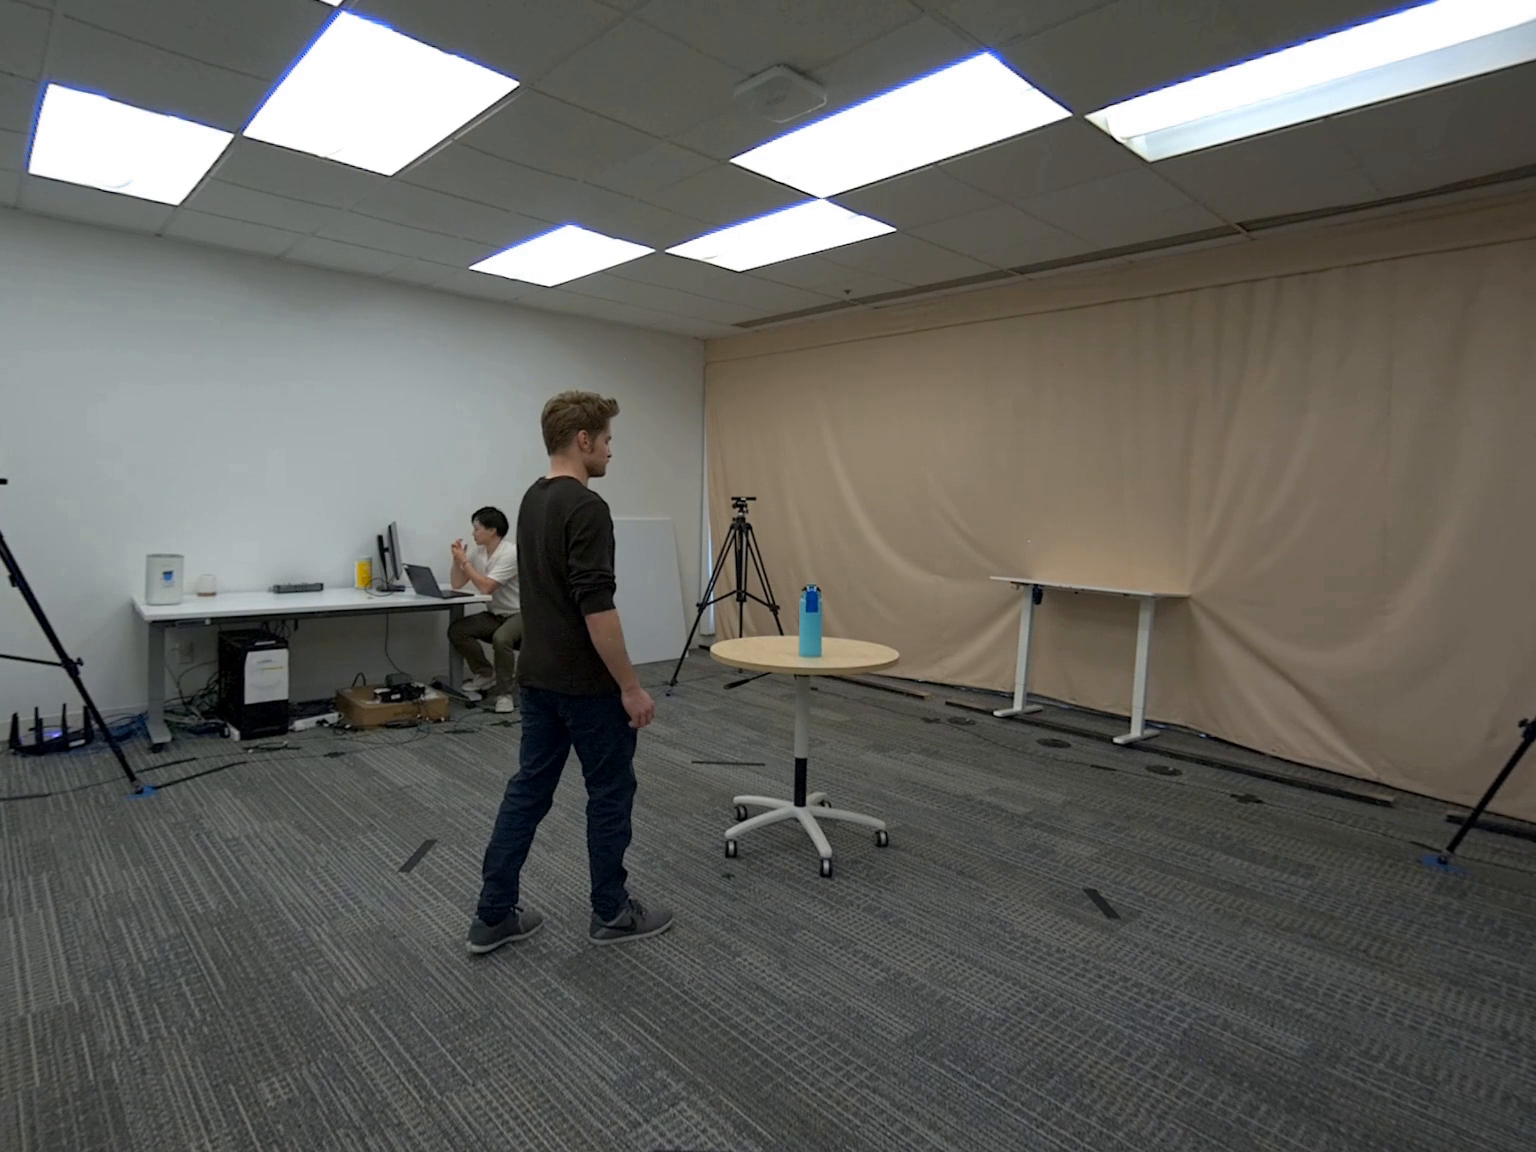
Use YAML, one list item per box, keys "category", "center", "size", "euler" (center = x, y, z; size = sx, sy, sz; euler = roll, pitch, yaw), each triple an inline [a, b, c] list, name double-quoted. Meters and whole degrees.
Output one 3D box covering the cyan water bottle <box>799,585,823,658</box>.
- category: "cyan water bottle"
  center: [0.163, 0.175, 3.301]
  size: [0.092, 0.282, 0.093]
  euler: [2, 5, -2]
